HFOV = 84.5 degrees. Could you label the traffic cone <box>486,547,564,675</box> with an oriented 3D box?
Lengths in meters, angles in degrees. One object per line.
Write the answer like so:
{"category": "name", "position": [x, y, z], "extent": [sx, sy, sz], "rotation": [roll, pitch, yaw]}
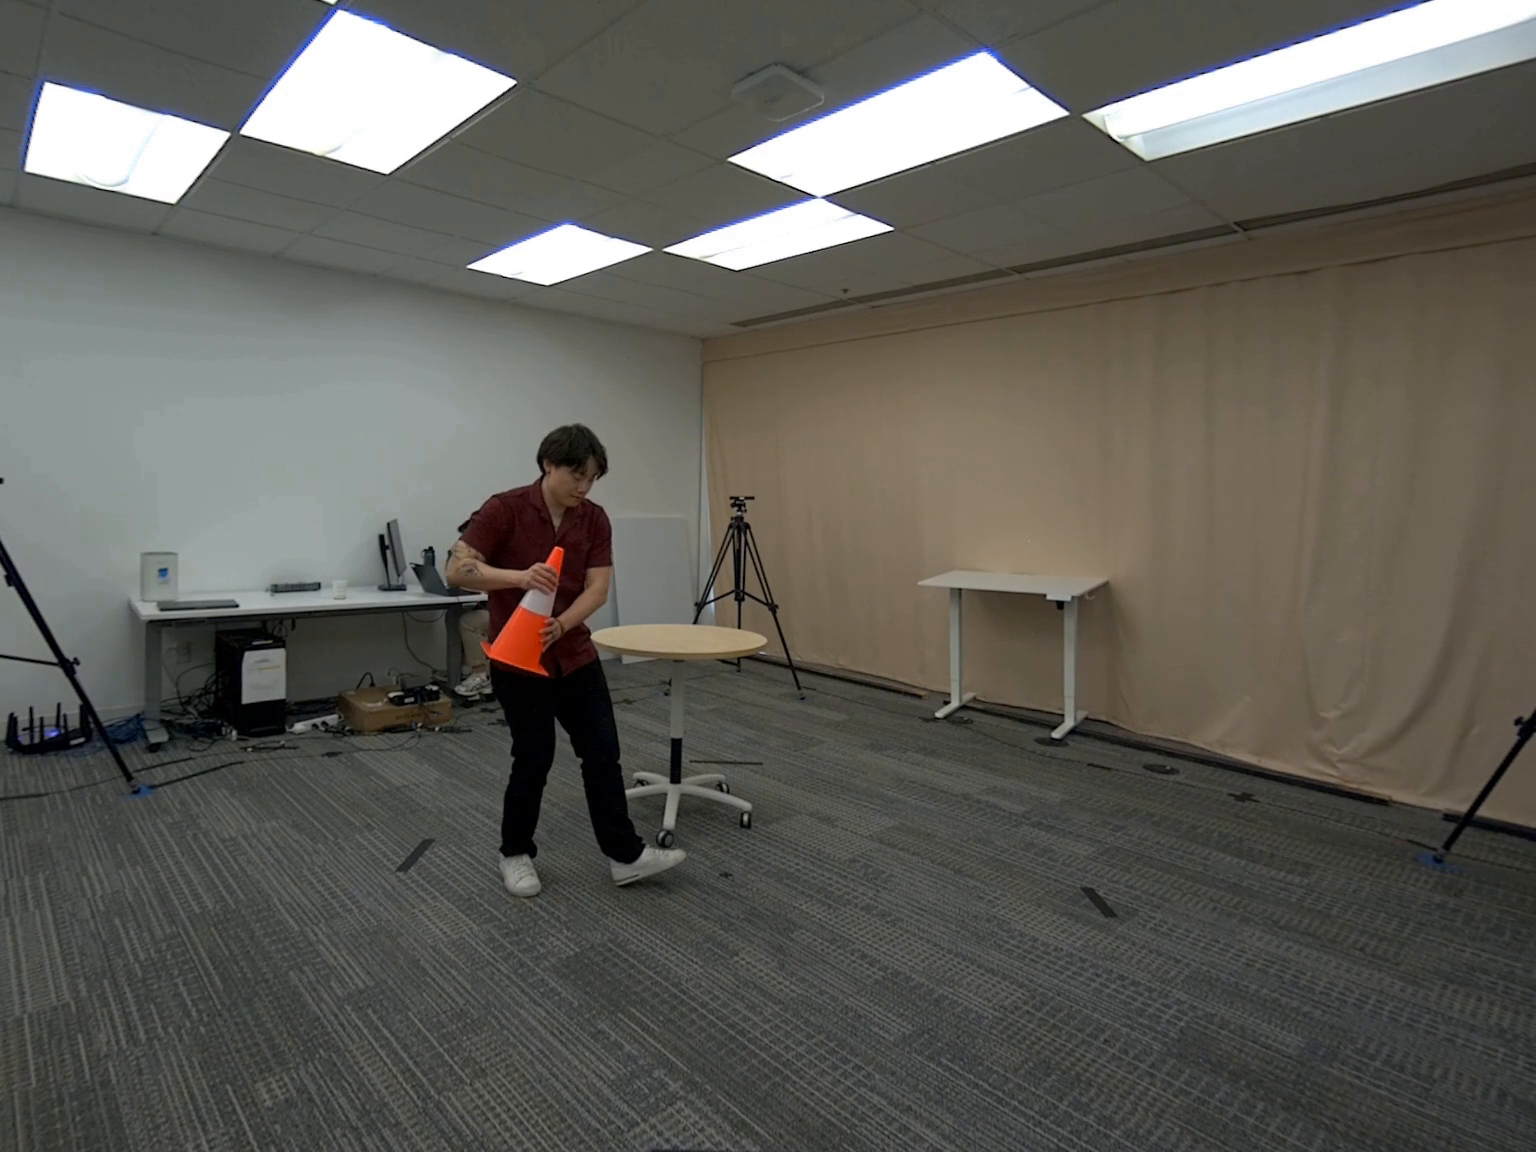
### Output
{"category": "traffic cone", "position": [-0.741, 0.091, 2.678], "extent": [0.199, 0.384, 0.209], "rotation": [22, -1, -26]}
